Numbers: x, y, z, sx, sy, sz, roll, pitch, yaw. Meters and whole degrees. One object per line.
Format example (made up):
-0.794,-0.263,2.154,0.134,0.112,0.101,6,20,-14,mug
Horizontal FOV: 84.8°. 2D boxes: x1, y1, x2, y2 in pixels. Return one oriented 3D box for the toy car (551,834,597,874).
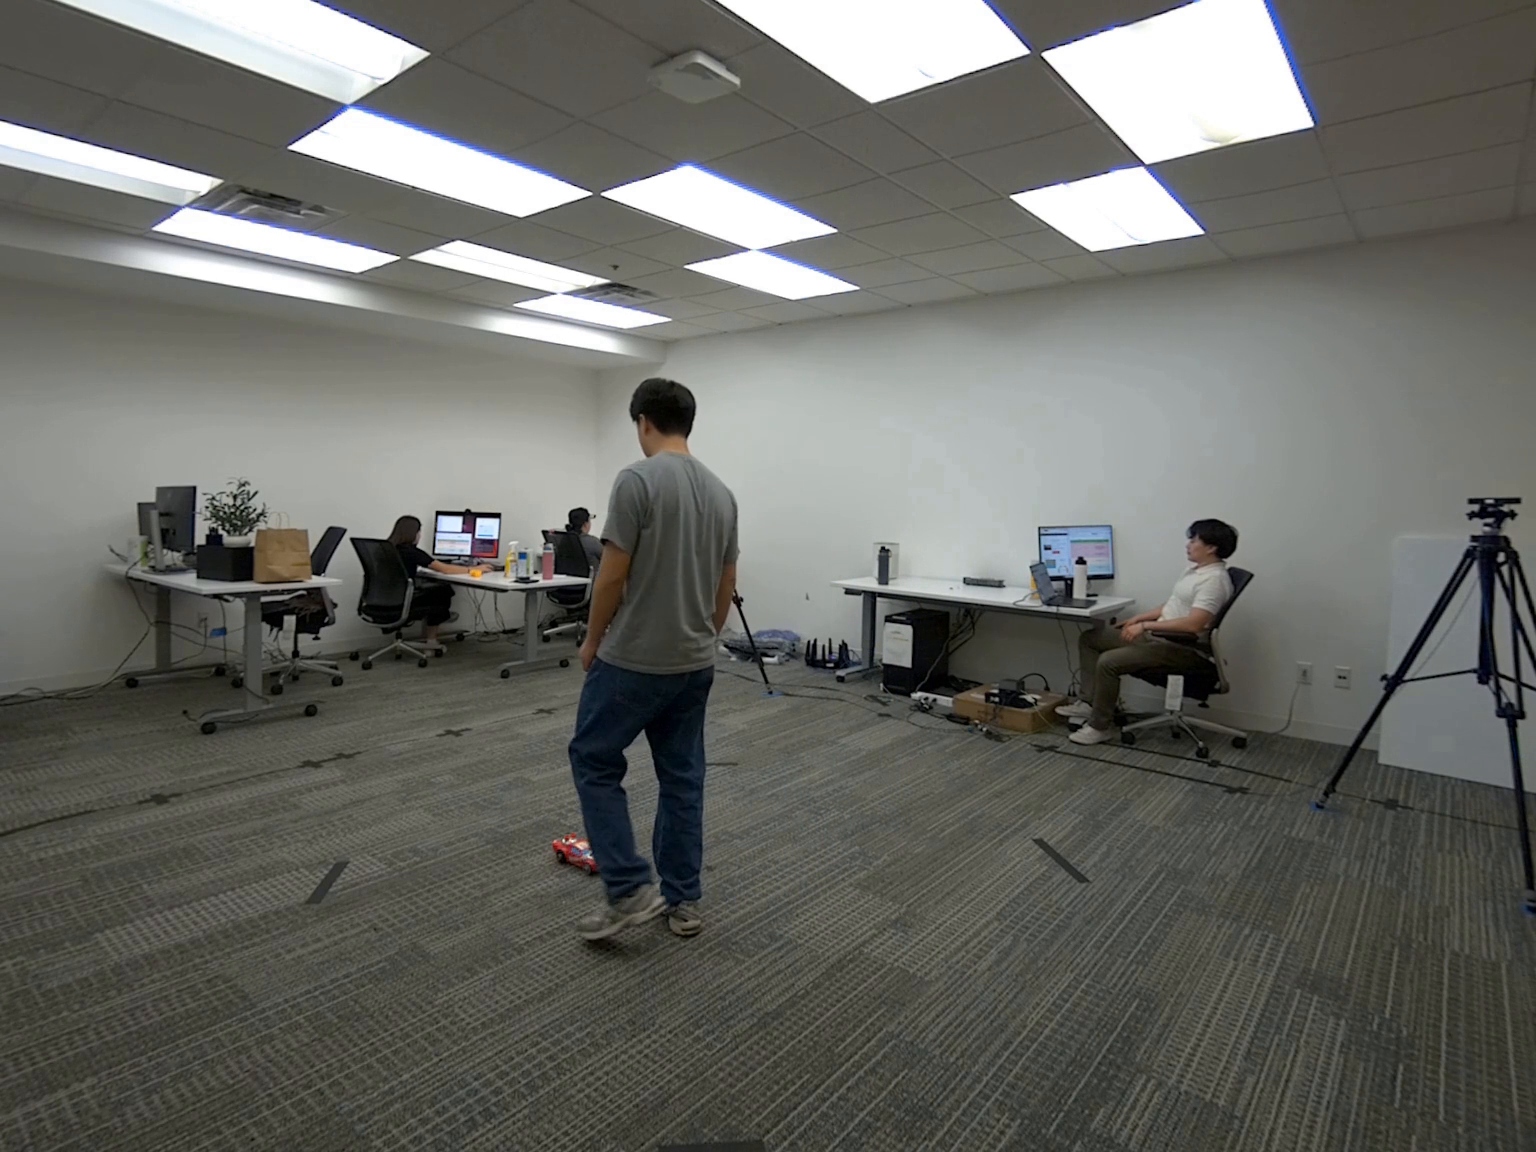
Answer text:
-0.702,1.020,3.135,0.264,0.082,0.126,18,14,37,toy car
